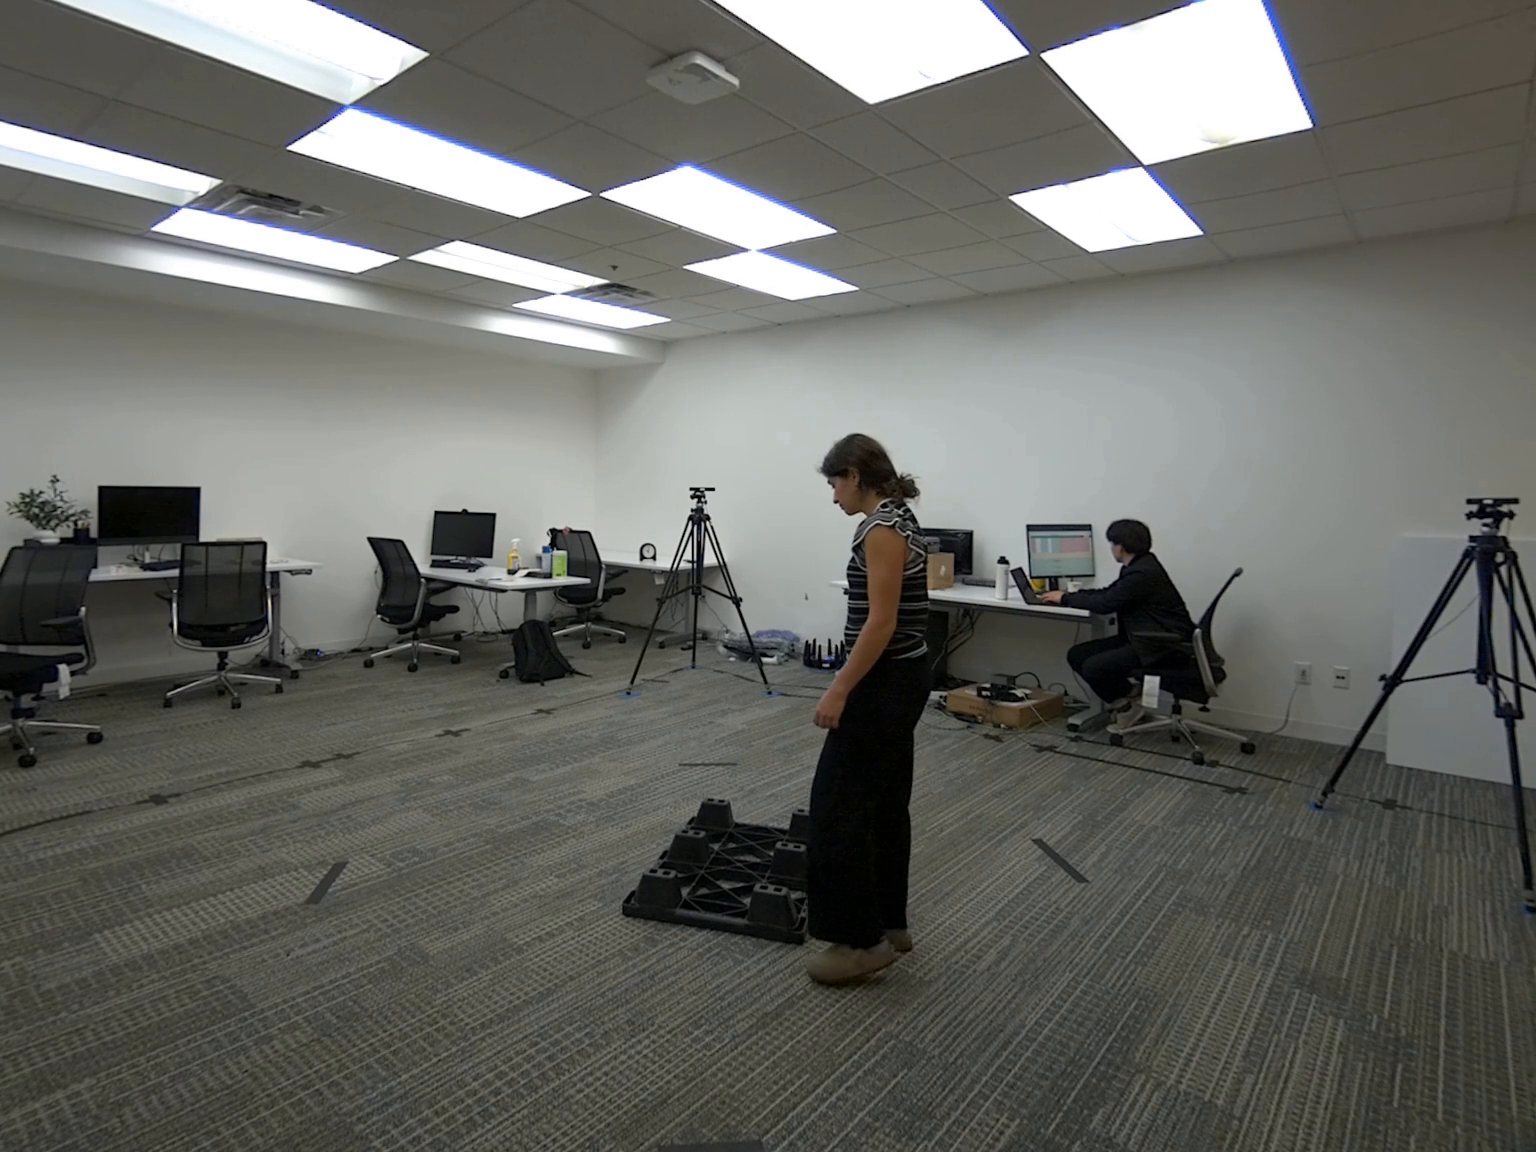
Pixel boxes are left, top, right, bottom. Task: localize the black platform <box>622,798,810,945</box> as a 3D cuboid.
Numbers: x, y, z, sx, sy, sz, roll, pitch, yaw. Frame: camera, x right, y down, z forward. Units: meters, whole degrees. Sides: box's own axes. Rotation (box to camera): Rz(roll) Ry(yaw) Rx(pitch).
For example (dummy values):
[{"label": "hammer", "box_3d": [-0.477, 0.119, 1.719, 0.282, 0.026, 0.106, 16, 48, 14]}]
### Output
[{"label": "black platform", "box_3d": [-0.108, 1.008, 3.047, 0.615, 0.143, 0.796, 2, 6, 13]}]
